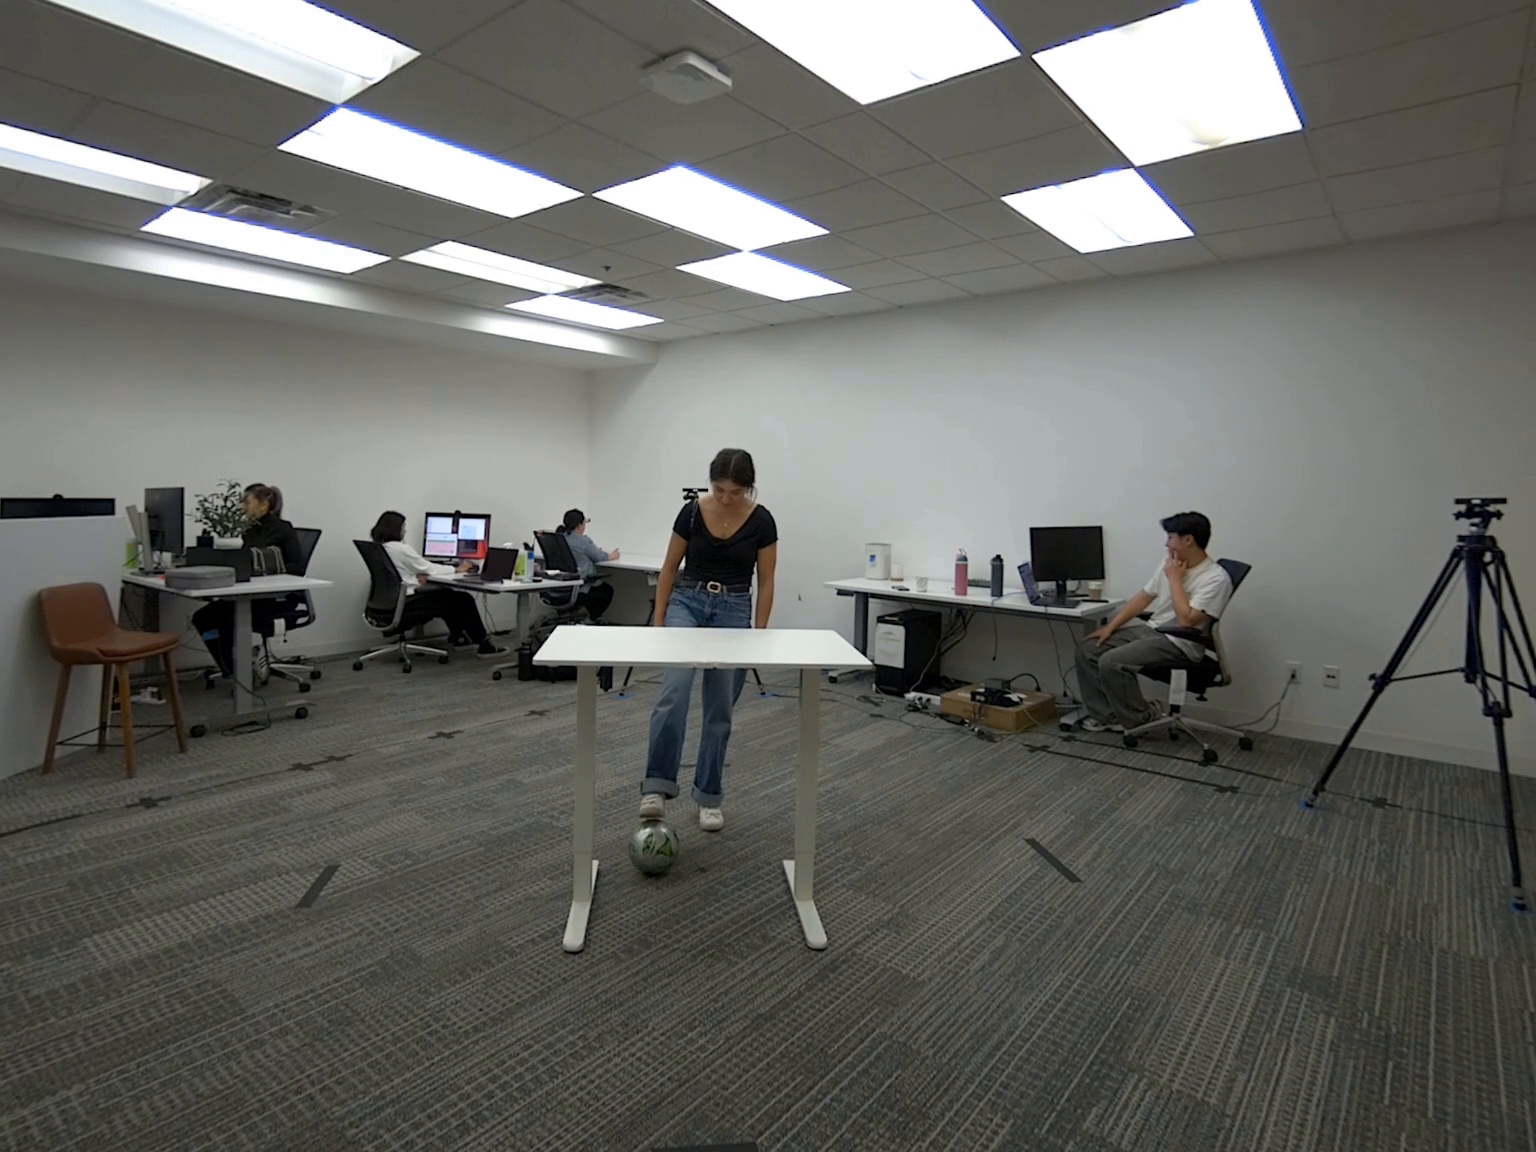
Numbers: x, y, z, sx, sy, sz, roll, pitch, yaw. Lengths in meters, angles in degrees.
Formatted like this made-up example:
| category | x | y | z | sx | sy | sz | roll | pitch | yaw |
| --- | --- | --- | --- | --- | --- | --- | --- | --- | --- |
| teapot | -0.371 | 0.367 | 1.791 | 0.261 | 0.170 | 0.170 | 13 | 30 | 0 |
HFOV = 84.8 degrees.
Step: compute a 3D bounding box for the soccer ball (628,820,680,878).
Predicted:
| category | x | y | z | sx | sy | sz | roll | pitch | yaw |
| --- | --- | --- | --- | --- | --- | --- | --- | --- | --- |
| soccer ball | -0.422 | 0.972 | 3.084 | 0.187 | 0.187 | 0.188 | 1 | 4 | -2 |
